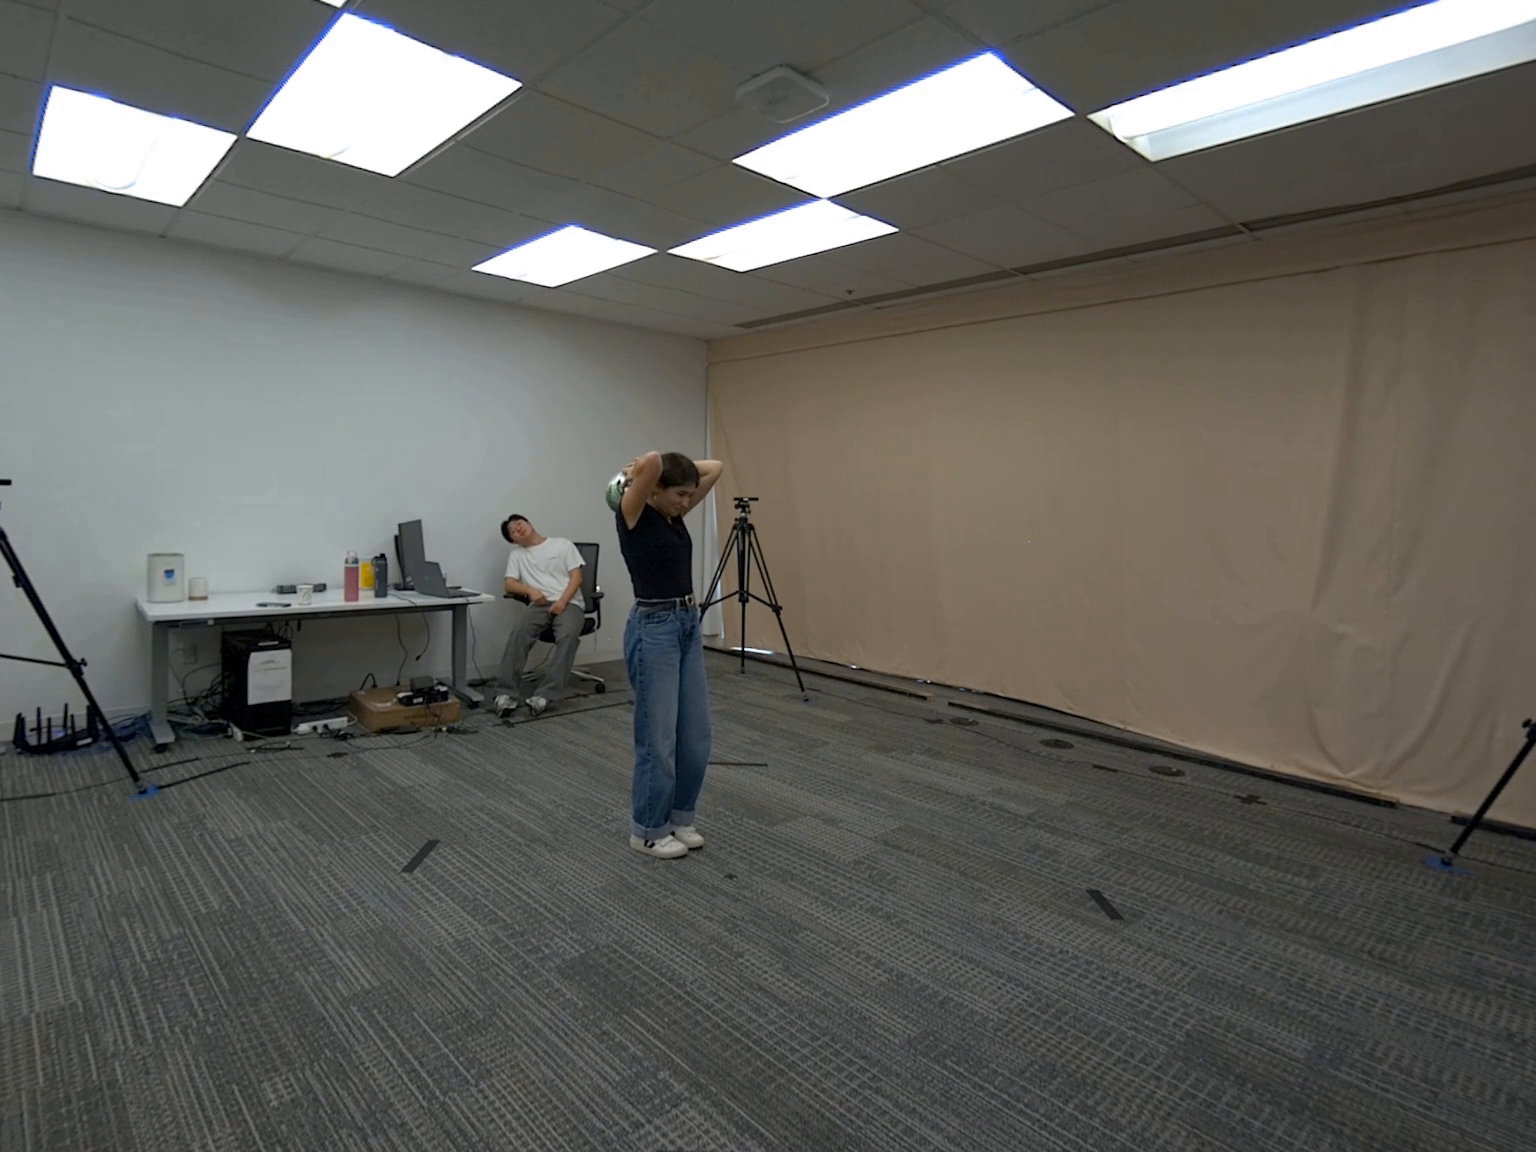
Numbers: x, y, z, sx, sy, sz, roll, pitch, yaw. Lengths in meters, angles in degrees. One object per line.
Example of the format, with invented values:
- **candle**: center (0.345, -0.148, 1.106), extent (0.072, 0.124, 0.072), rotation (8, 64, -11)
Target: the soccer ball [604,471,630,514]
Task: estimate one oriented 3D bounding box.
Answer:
- **soccer ball**: center (-0.569, -0.332, 3.424), extent (0.187, 0.187, 0.188), rotation (1, 4, -1)
